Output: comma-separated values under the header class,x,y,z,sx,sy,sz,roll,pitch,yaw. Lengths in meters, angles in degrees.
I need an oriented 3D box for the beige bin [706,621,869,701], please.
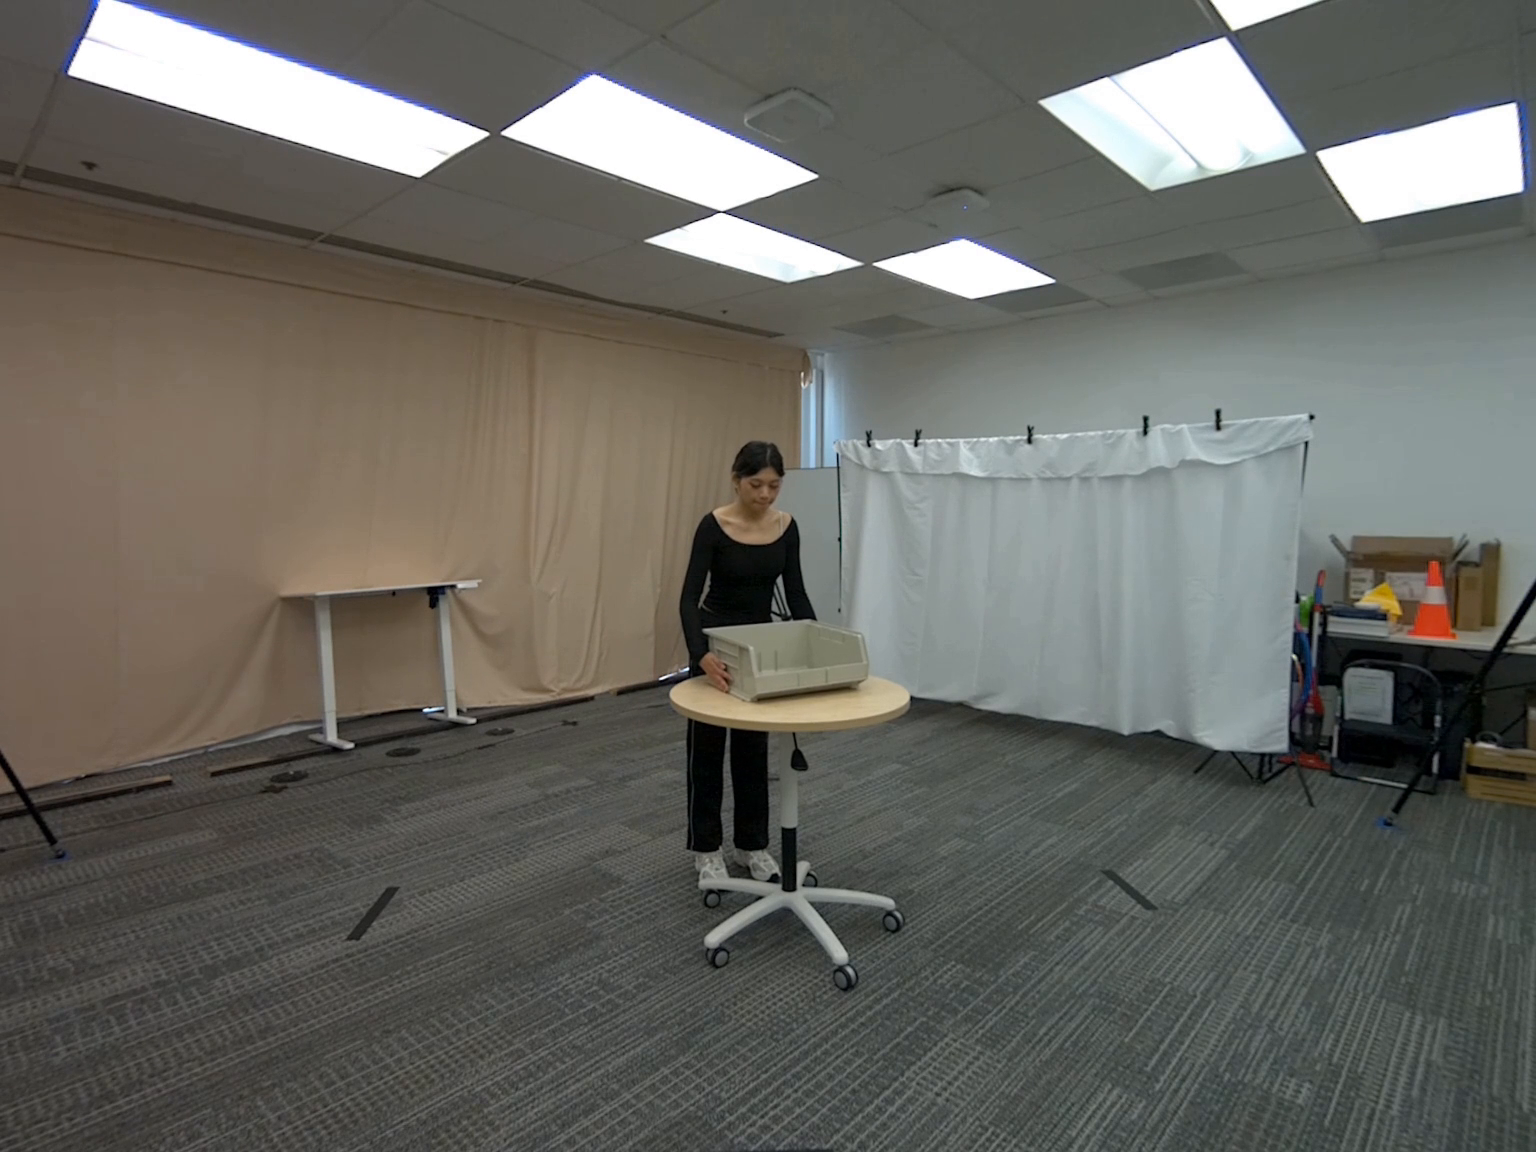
class,x,y,z,sx,sy,sz,roll,pitch,yaw
beige bin,0.059,0.272,2.770,0.412,0.188,0.387,-4,5,-26
